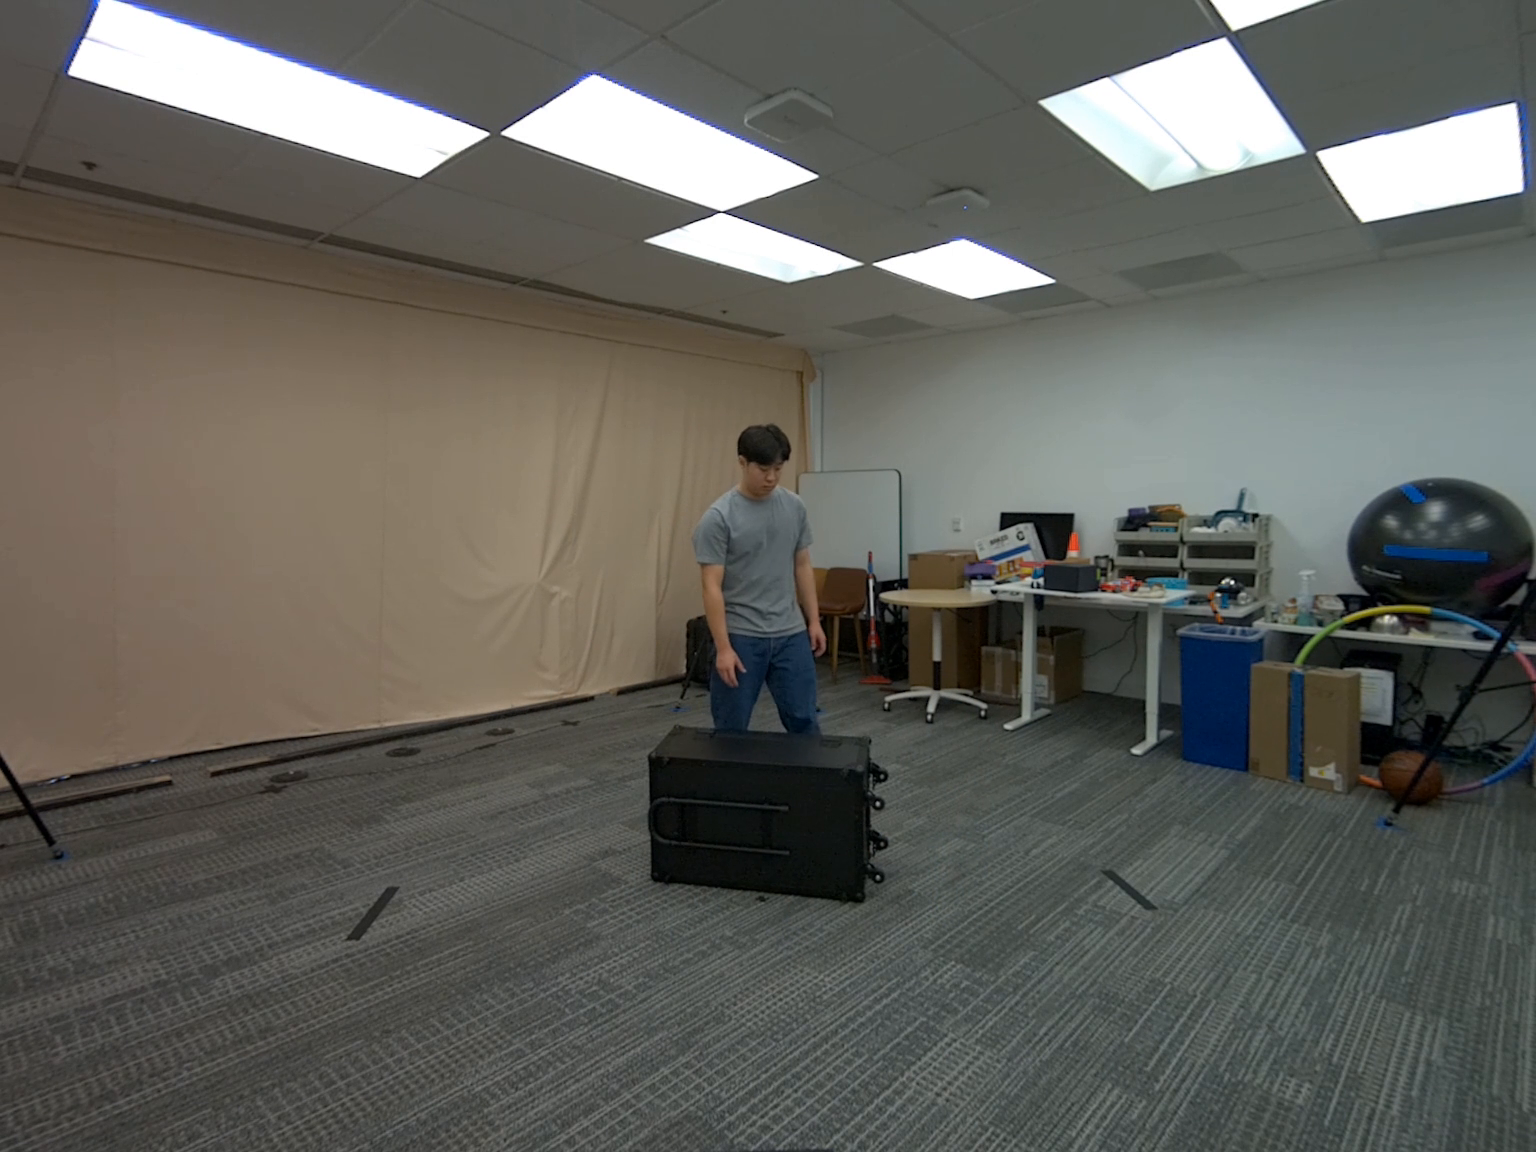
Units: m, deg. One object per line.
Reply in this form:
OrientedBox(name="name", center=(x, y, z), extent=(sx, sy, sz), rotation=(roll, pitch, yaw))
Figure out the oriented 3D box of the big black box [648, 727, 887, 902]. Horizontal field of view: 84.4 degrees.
OrientedBox(name="big black box", center=(0.012, 0.870, 3.159), extent=(0.874, 0.519, 0.392), rotation=(1, 6, 13))
